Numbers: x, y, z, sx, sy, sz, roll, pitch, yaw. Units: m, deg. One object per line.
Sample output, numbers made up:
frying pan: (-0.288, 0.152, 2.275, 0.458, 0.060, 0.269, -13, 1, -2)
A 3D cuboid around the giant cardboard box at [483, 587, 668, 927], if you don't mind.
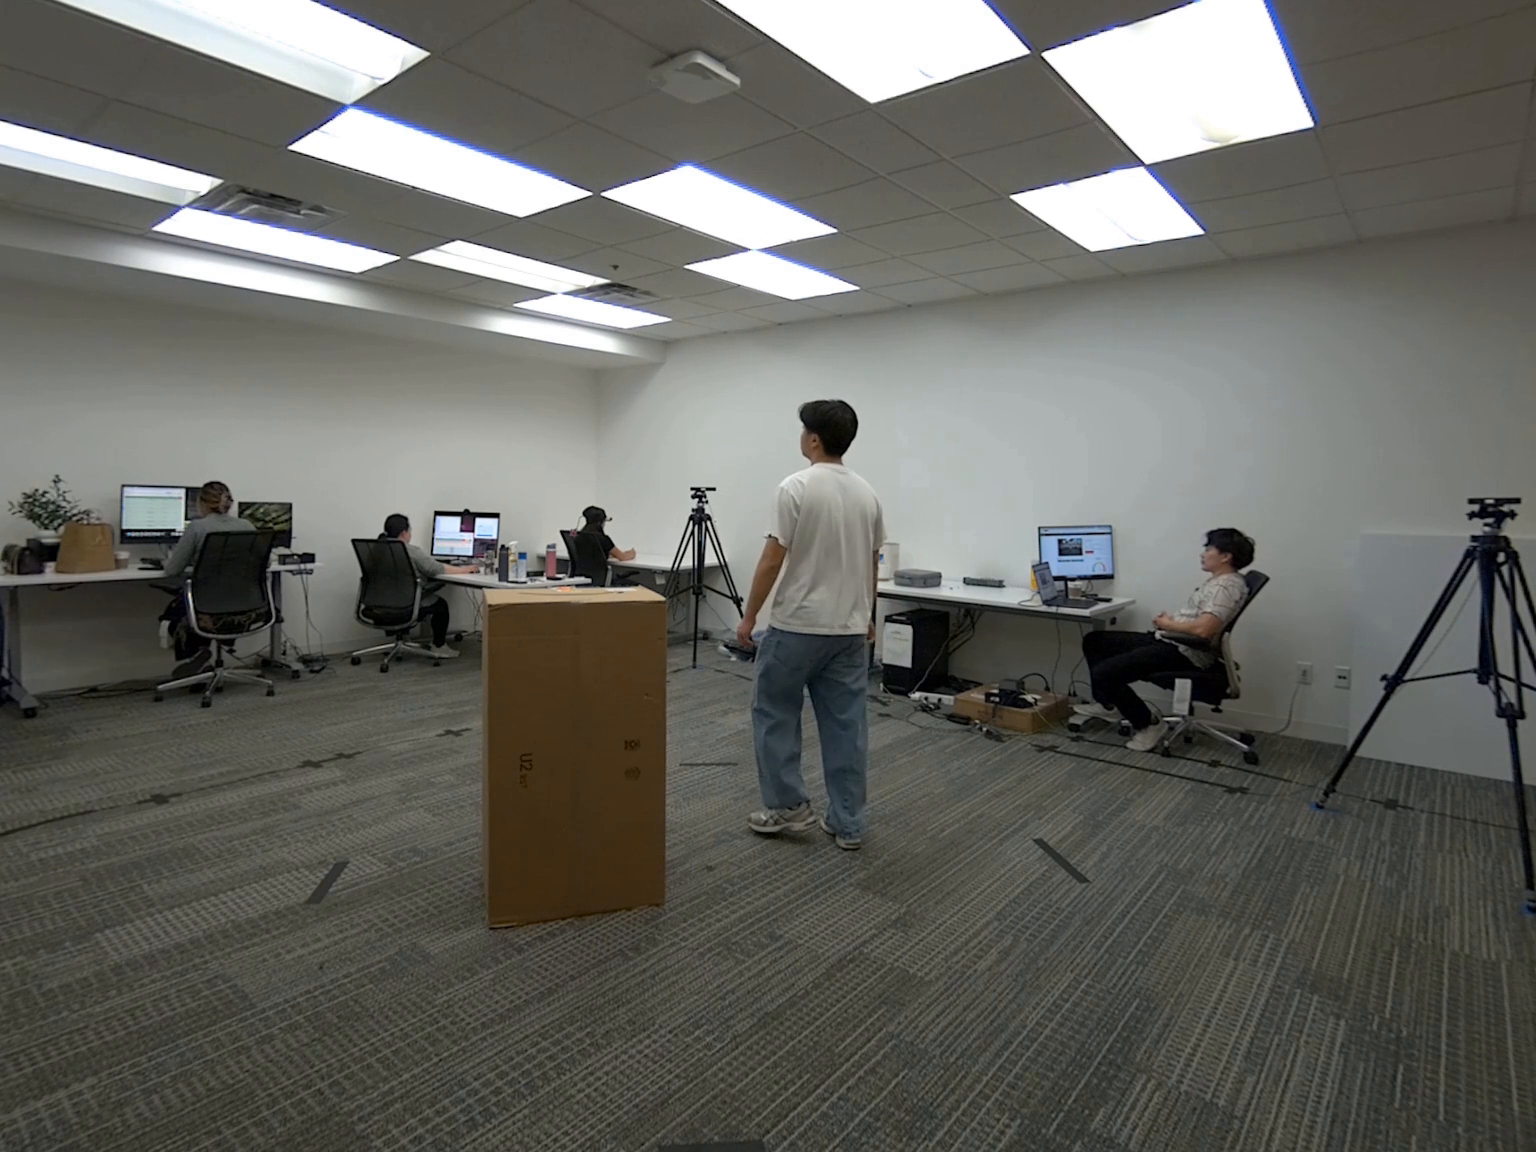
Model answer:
giant cardboard box: (-0.685, 0.568, 2.913, 0.566, 1.023, 0.436, -1, 3, -20)
